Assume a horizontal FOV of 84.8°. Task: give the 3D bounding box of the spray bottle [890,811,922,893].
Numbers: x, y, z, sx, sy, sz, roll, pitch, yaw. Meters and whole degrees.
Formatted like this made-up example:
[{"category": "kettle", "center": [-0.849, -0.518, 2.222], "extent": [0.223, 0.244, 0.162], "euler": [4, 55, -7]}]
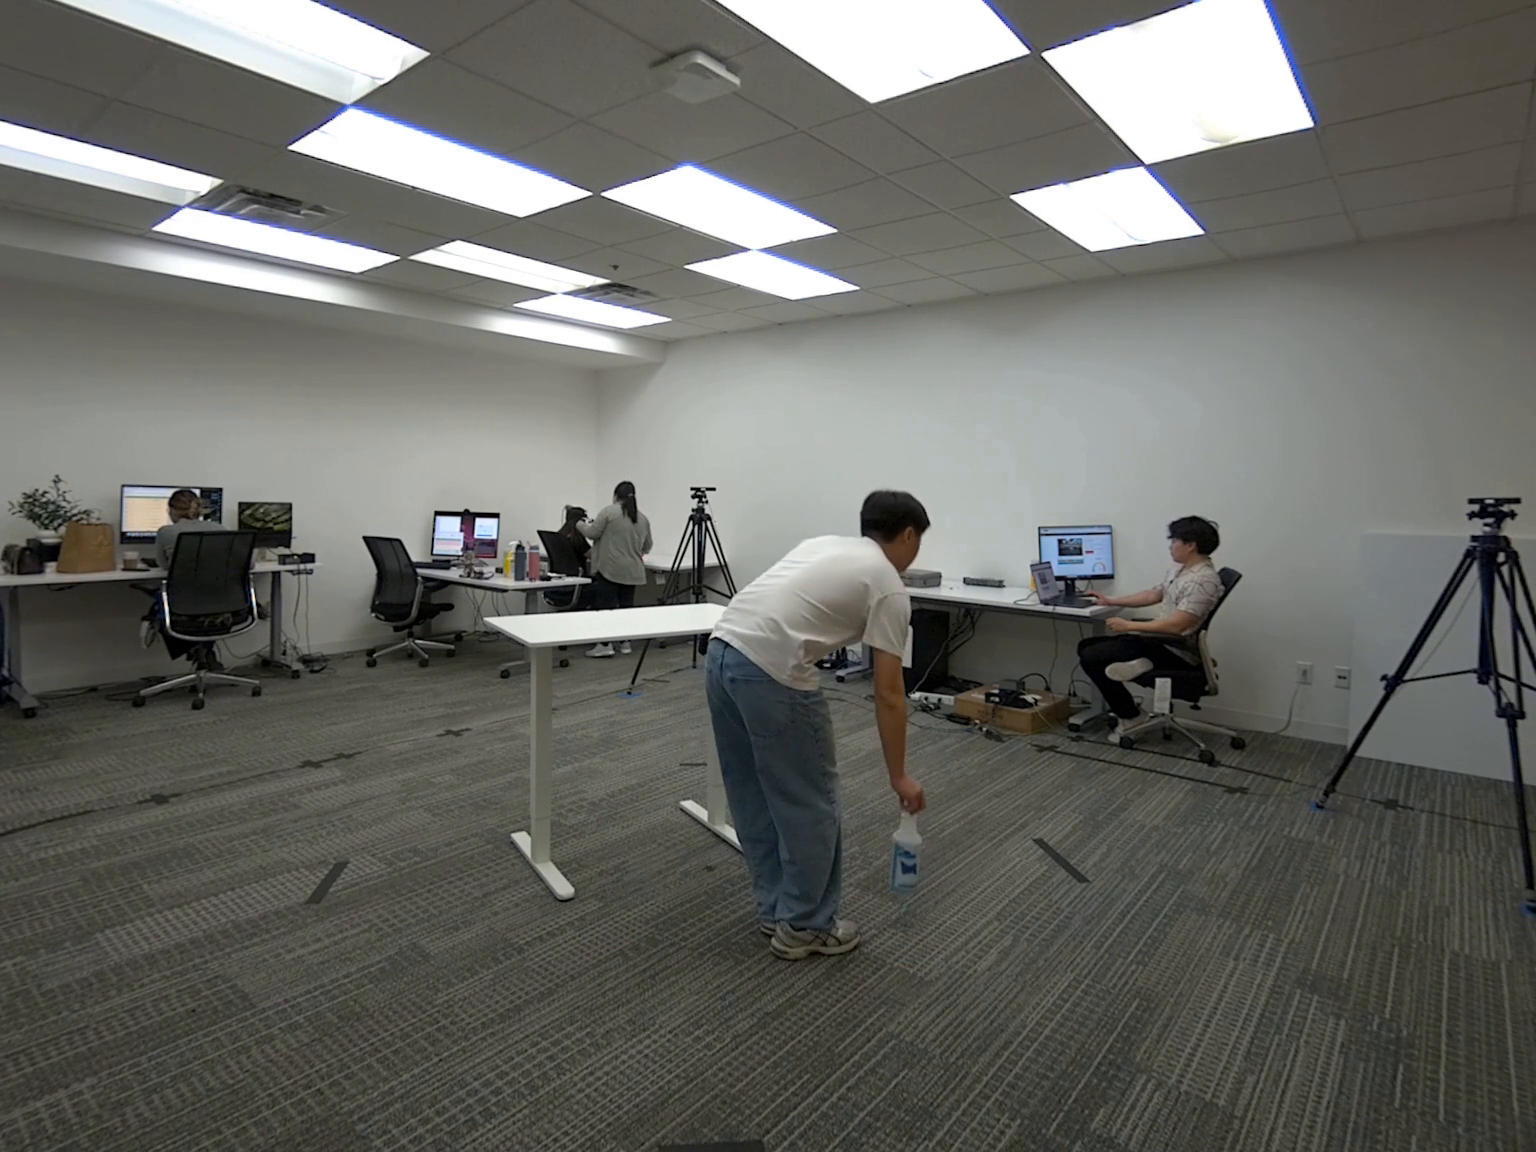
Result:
[{"category": "spray bottle", "center": [0.416, 0.806, 2.555], "extent": [0.087, 0.297, 0.090], "euler": [4, 2, -35]}]
